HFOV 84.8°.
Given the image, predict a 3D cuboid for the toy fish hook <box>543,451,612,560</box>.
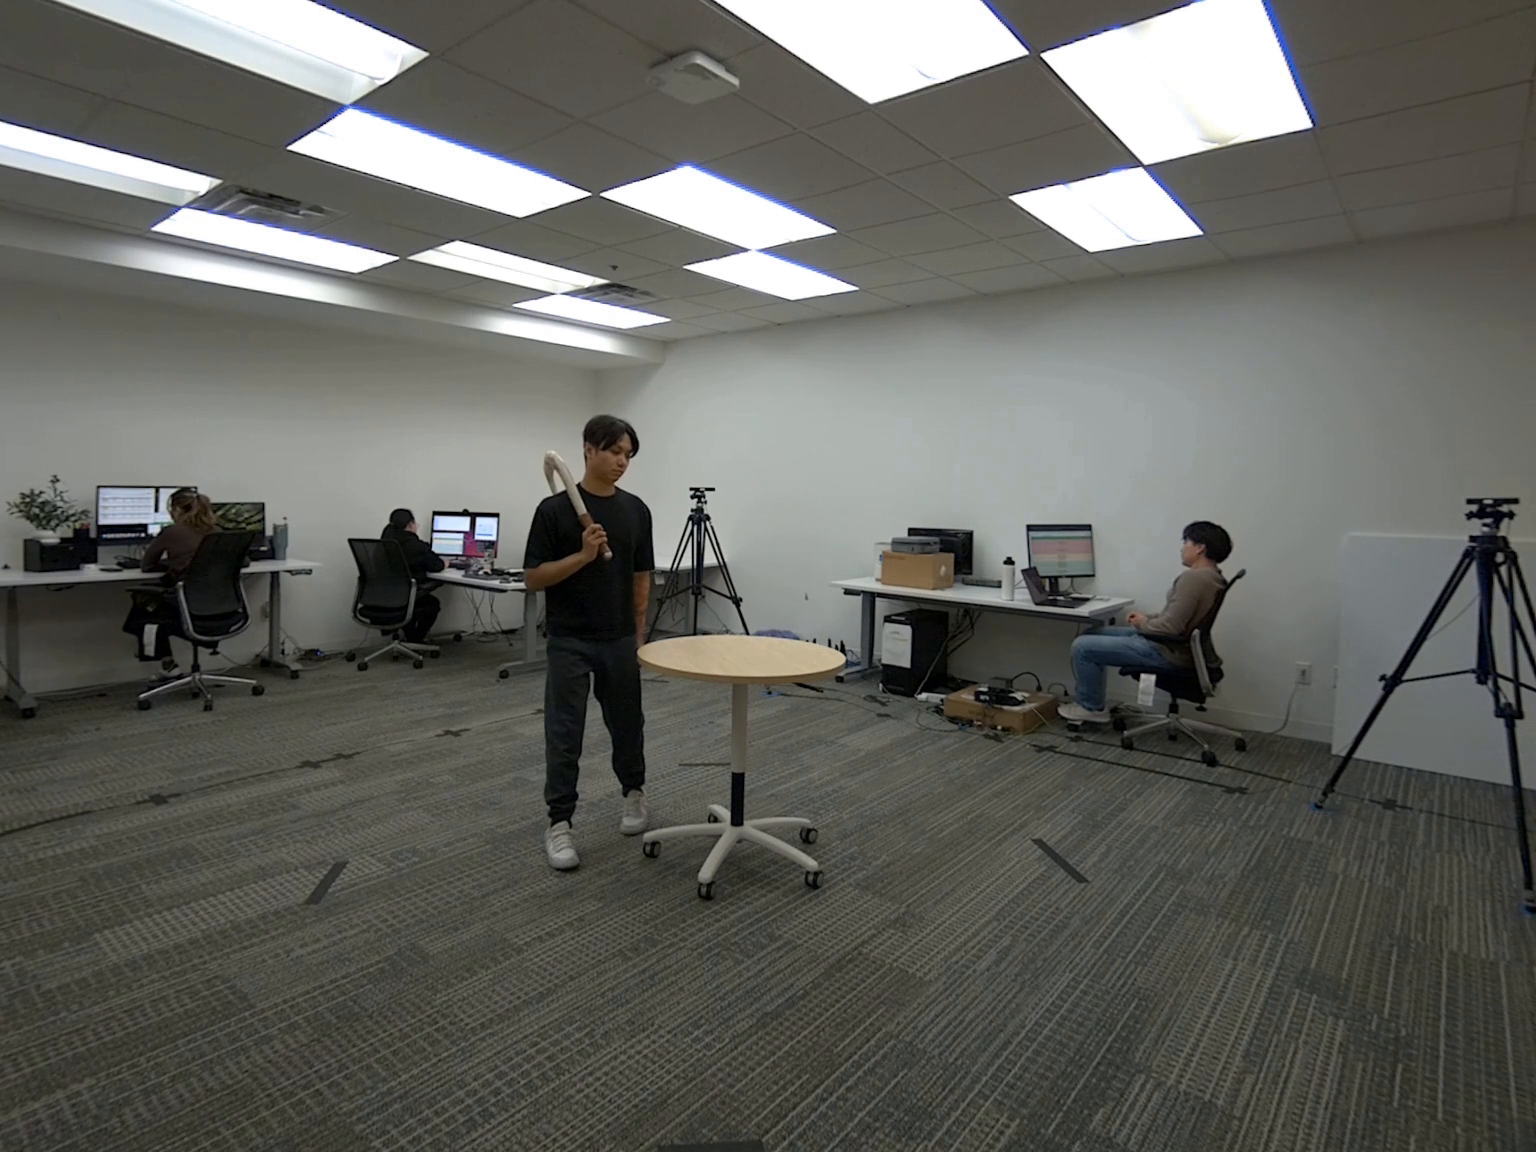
[{"bbox_3d":[-0.742,-0.255,3.232,0.047,0.519,0.222,-23,-19,-28],"label":"toy fish hook"}]
